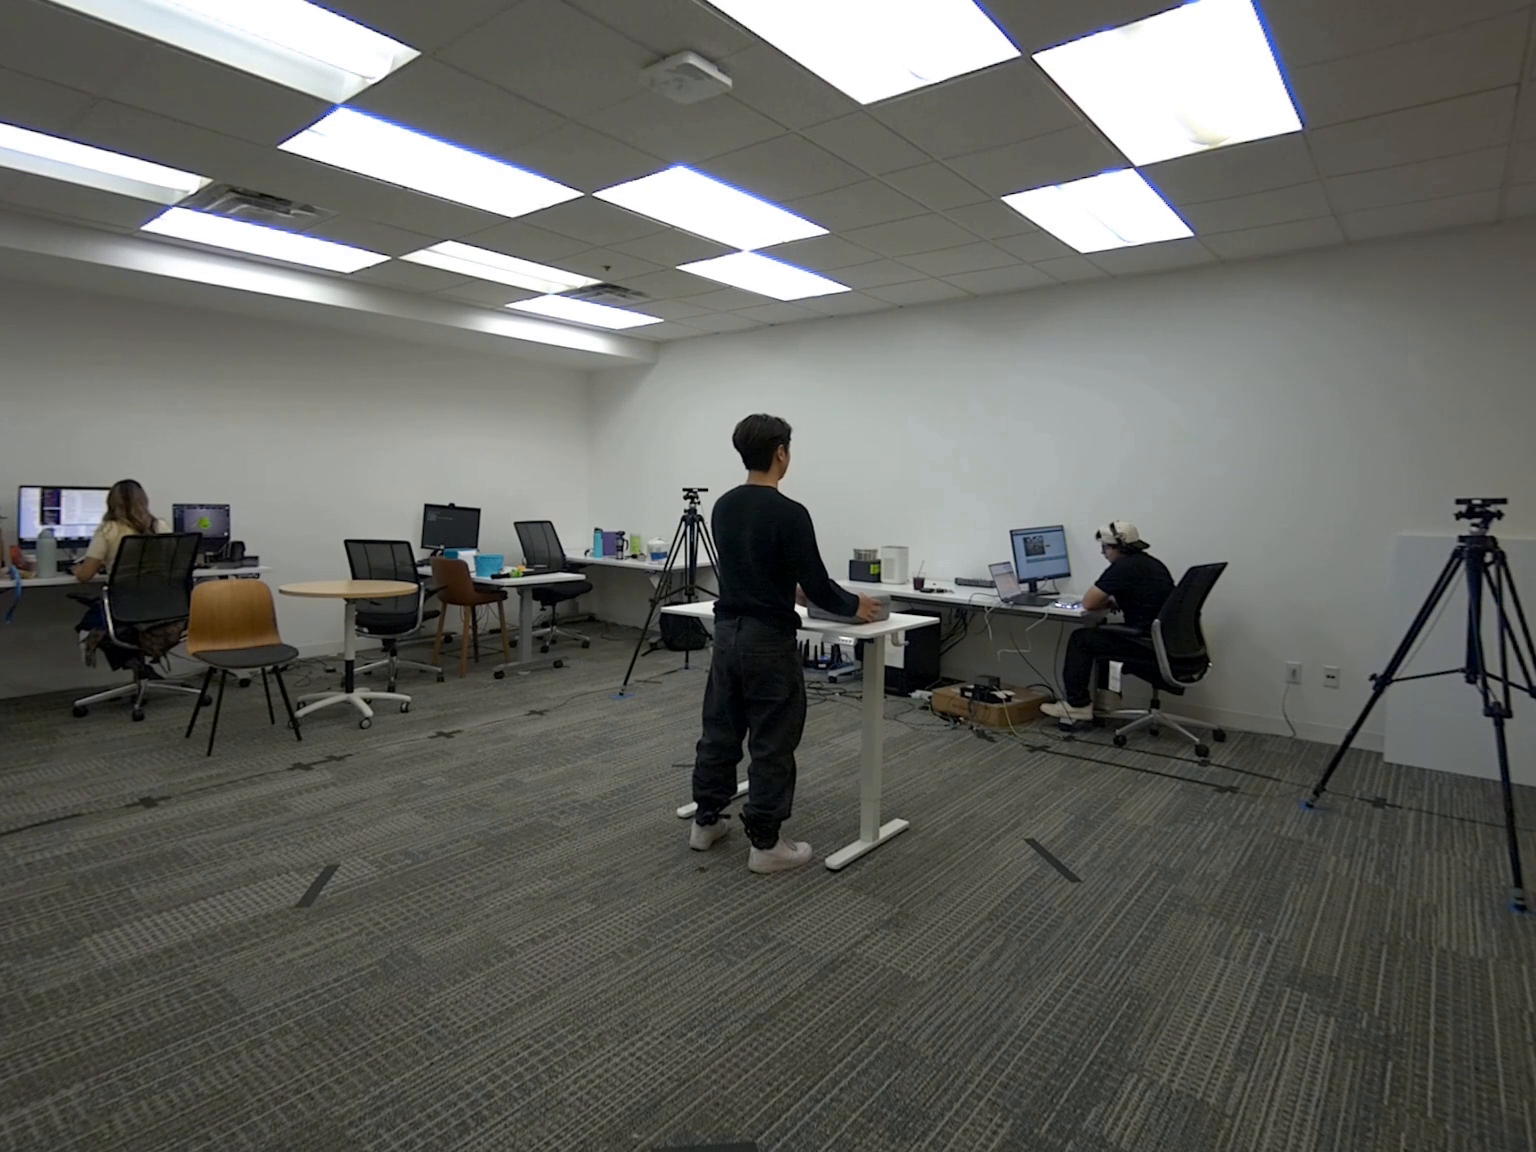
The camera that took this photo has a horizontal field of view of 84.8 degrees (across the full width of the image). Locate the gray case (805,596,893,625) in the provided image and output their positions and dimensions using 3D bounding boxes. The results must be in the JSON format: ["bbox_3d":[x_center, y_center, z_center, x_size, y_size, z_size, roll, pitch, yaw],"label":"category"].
[{"bbox_3d":[0.314,0.118,3.391,0.253,0.104,0.266,-3,7,-44],"label":"gray case"}]
